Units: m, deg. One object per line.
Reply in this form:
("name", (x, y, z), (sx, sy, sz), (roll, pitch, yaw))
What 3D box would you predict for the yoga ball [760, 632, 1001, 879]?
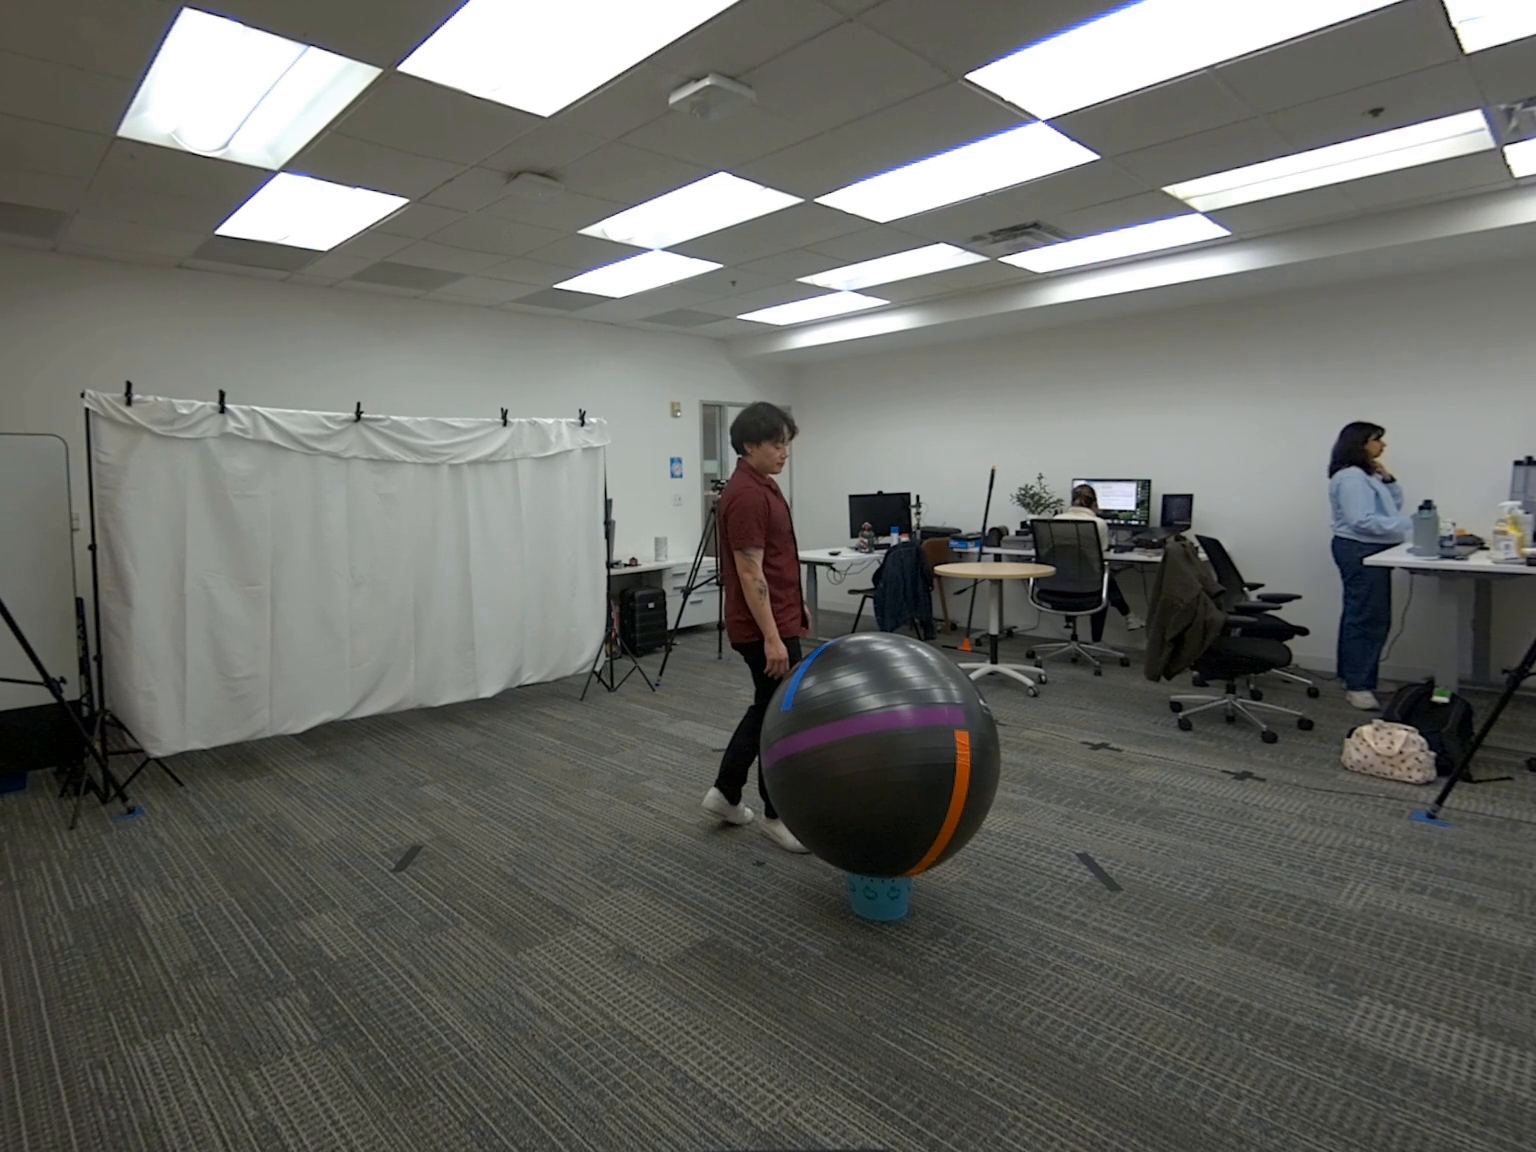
("yoga ball", (0.361, 0.571, 2.744), (0.757, 0.755, 0.762), (-1, 5, -2))
